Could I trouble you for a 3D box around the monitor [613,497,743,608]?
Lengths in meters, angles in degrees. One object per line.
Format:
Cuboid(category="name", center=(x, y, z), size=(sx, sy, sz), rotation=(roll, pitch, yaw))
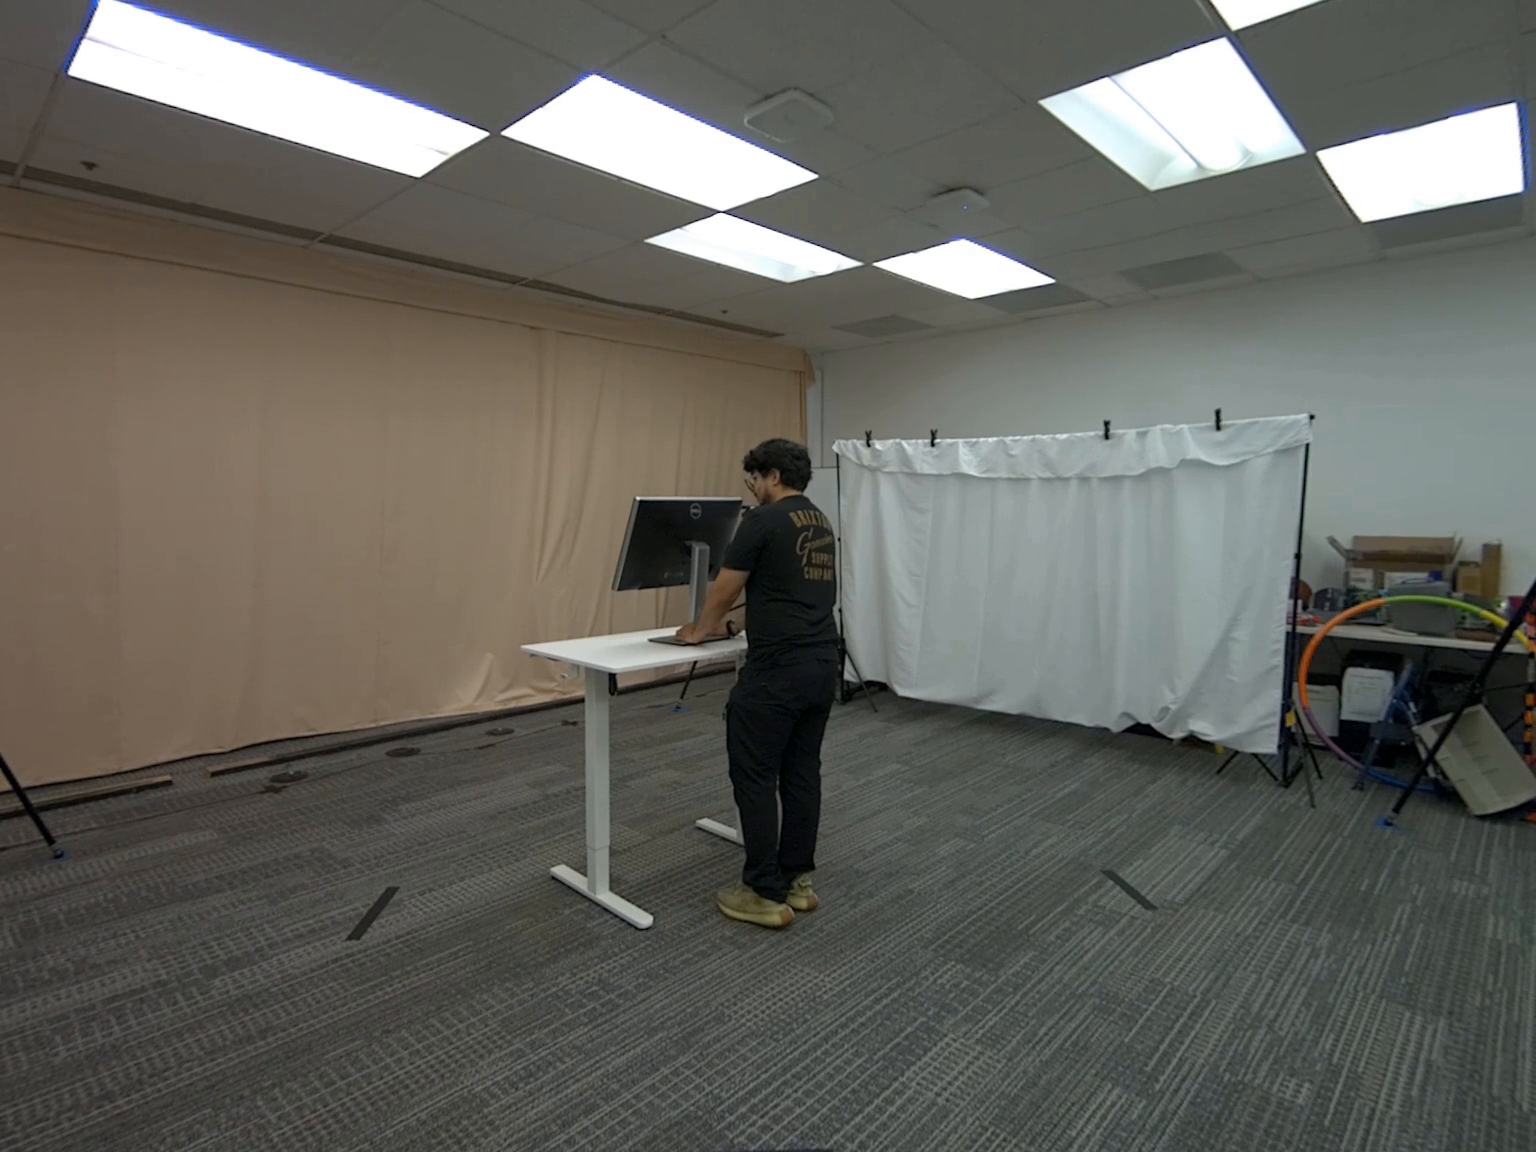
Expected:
Cuboid(category="monitor", center=(-0.287, -0.021, 3.172), size=(0.218, 0.551, 0.548), rotation=(19, 15, 39))
